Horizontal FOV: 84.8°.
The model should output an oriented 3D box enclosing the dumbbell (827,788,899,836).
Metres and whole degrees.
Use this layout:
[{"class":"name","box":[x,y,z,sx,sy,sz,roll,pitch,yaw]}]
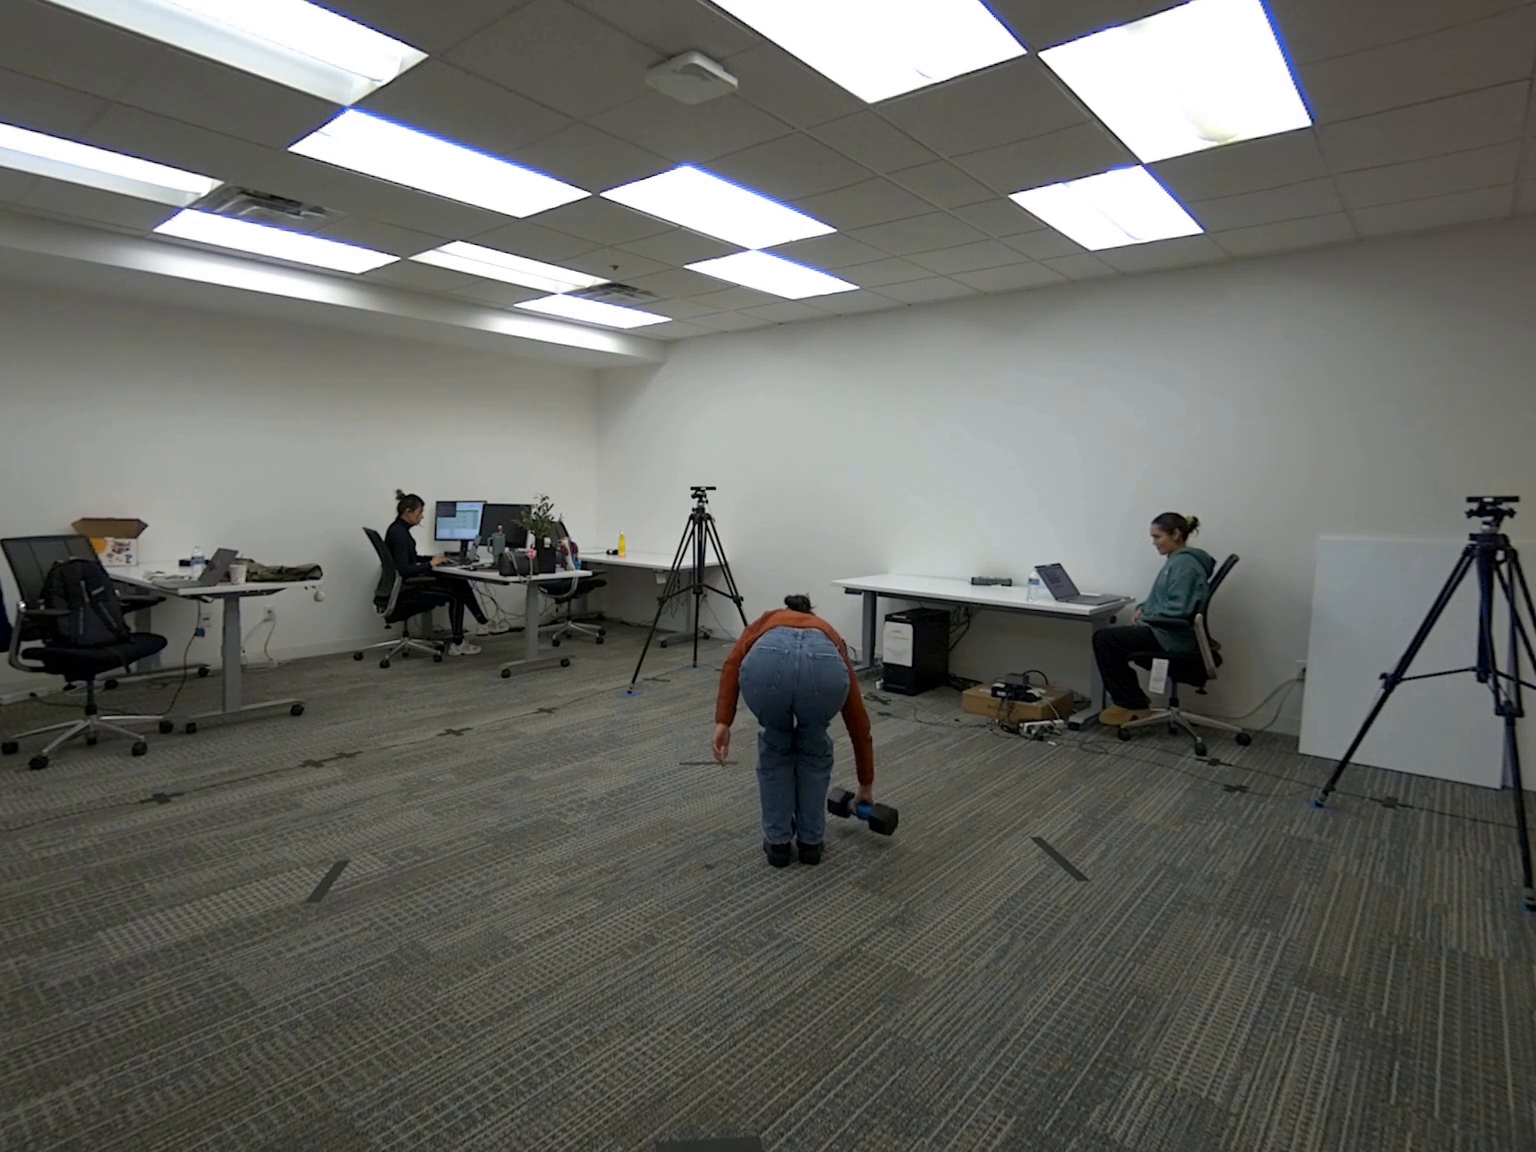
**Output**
[{"class":"dumbbell","box":[0.369,0.930,3.420,0.106,0.121,0.304,-17,18,-42]}]
